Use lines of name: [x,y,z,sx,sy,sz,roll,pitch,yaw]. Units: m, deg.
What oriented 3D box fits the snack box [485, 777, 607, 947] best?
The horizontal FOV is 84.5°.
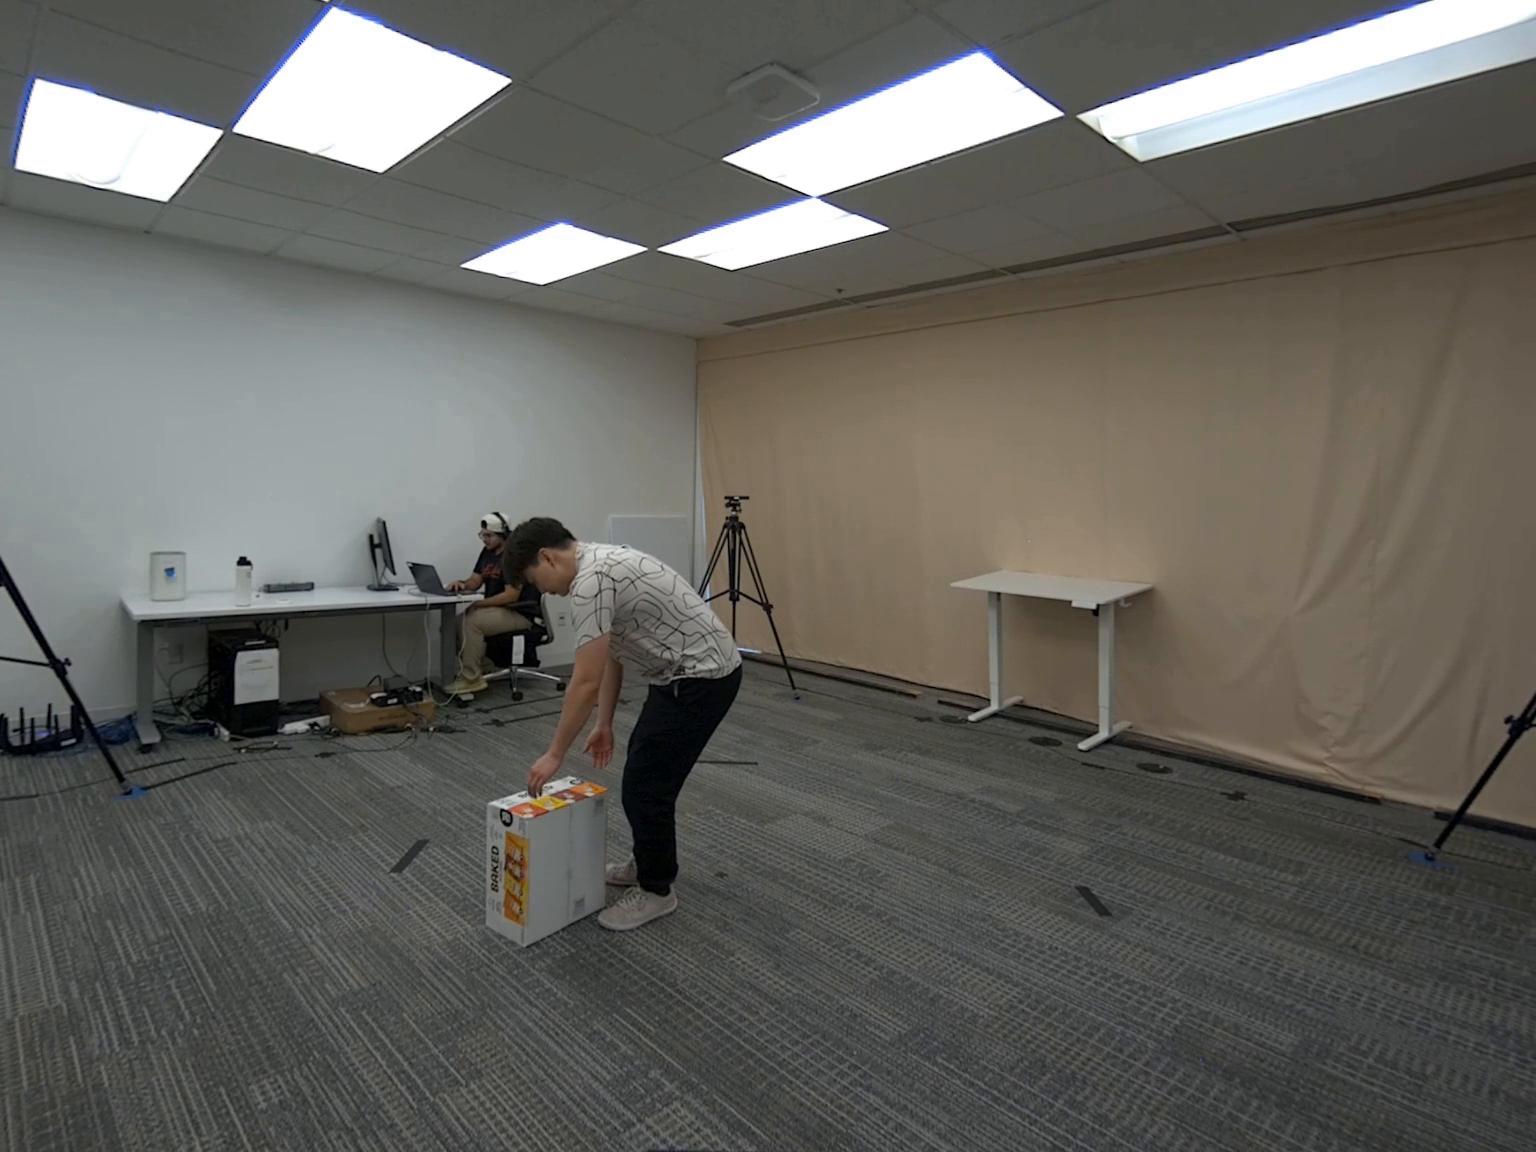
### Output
snack box: [-0.725,0.919,2.753,0.211,0.404,0.333,4,4,36]
